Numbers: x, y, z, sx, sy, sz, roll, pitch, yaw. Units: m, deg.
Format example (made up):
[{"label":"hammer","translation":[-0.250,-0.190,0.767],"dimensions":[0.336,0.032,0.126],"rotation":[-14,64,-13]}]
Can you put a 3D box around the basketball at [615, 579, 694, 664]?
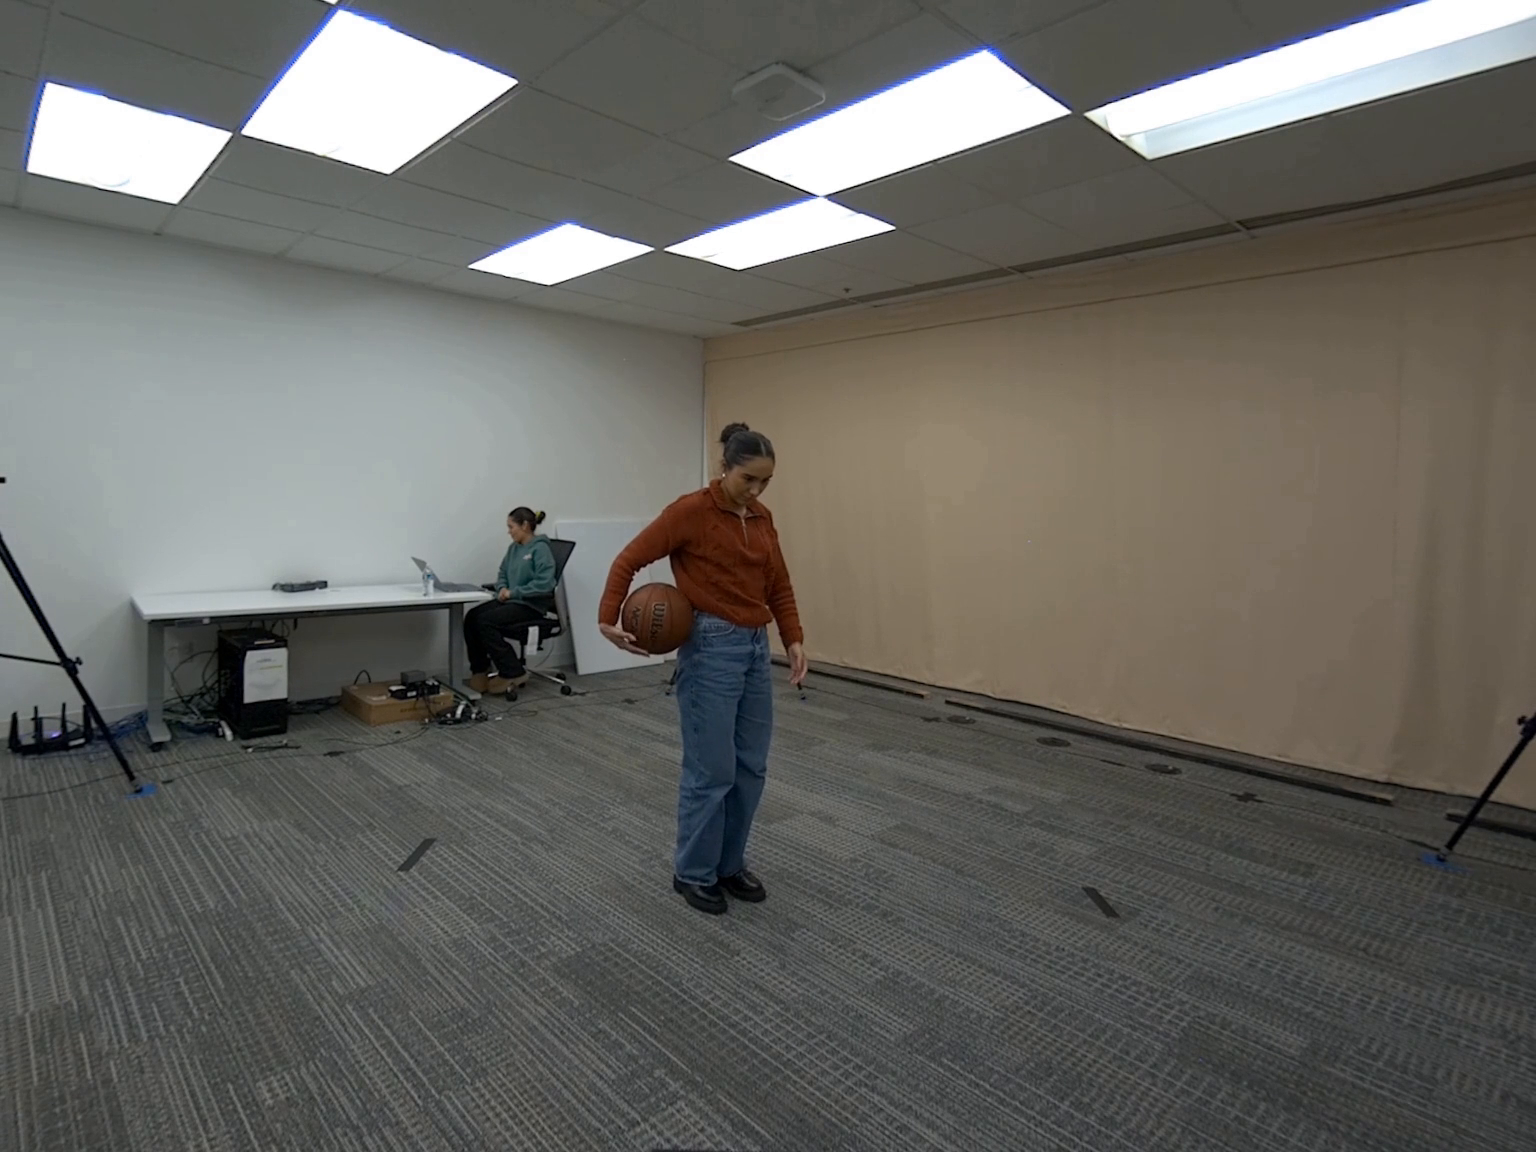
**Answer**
[{"label":"basketball","translation":[-0.362,0.140,2.740],"dimensions":[0.236,0.235,0.237],"rotation":[1,4,-1]}]
